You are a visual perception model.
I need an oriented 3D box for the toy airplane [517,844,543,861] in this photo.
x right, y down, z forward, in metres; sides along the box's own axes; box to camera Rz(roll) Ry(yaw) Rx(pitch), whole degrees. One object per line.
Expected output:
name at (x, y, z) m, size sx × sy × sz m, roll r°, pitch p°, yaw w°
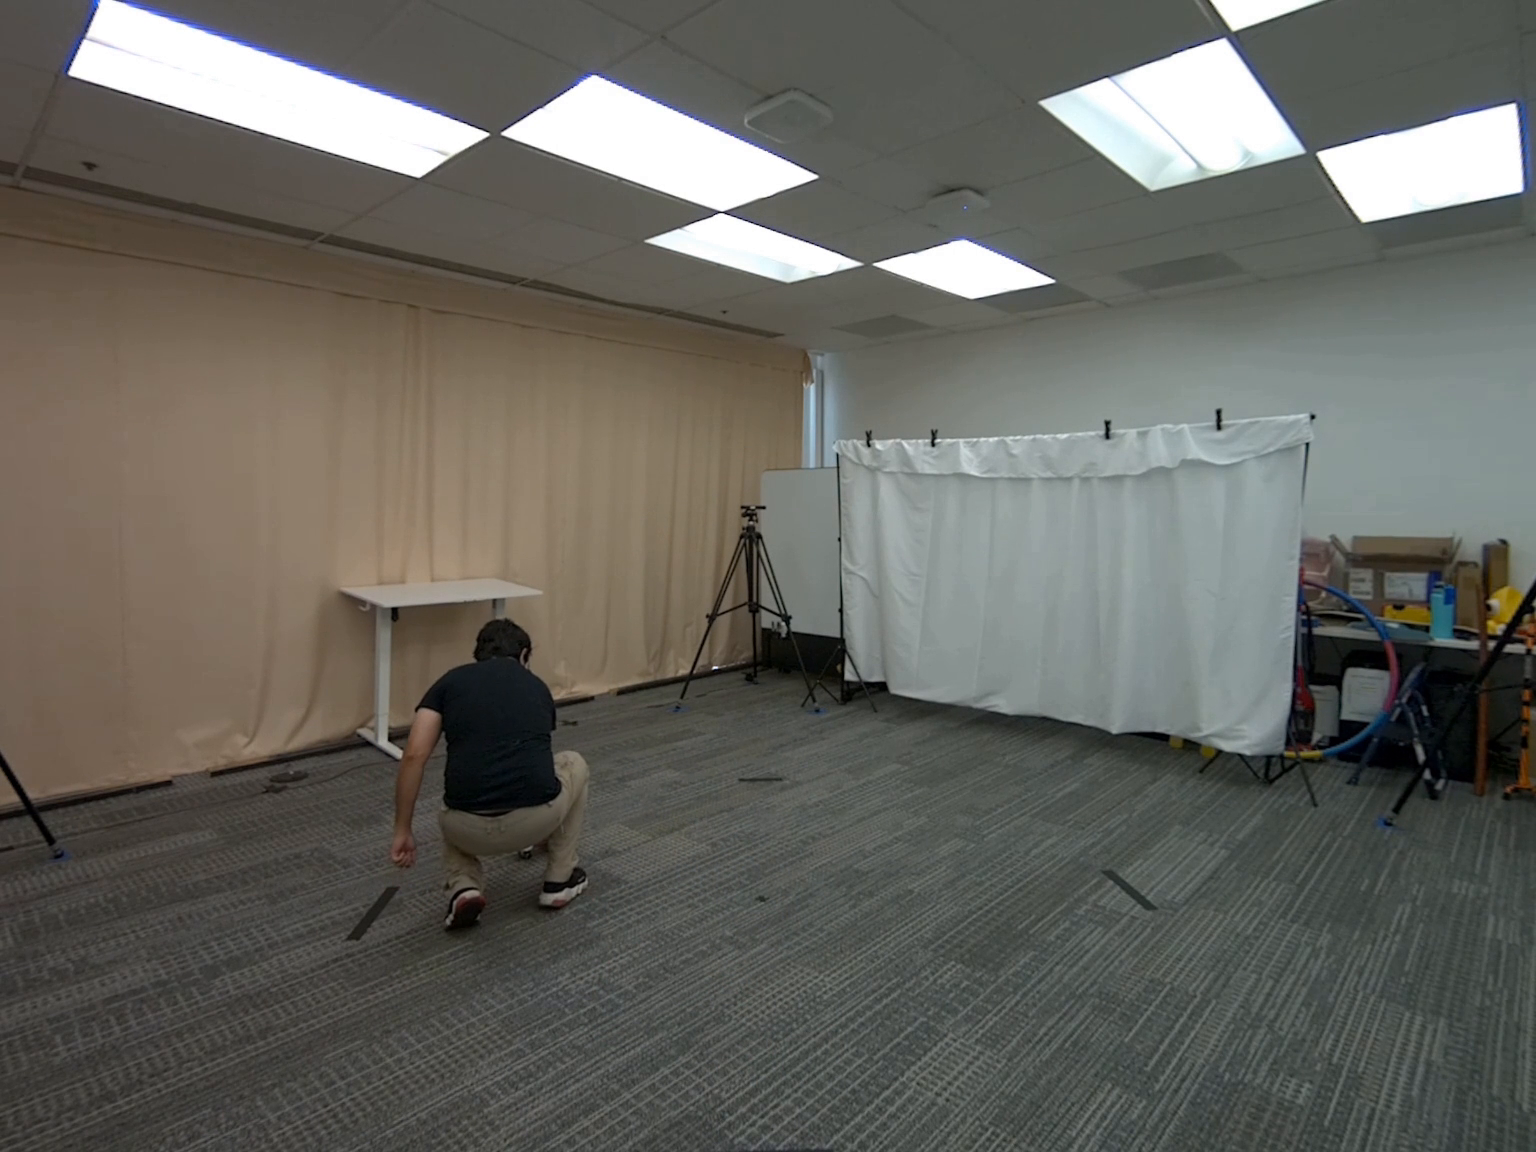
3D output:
toy airplane at (-0.902, 1.046, 3.402) m, size 0.254 × 0.156 × 0.256 m, roll 0°, pitch 2°, yaw 11°
